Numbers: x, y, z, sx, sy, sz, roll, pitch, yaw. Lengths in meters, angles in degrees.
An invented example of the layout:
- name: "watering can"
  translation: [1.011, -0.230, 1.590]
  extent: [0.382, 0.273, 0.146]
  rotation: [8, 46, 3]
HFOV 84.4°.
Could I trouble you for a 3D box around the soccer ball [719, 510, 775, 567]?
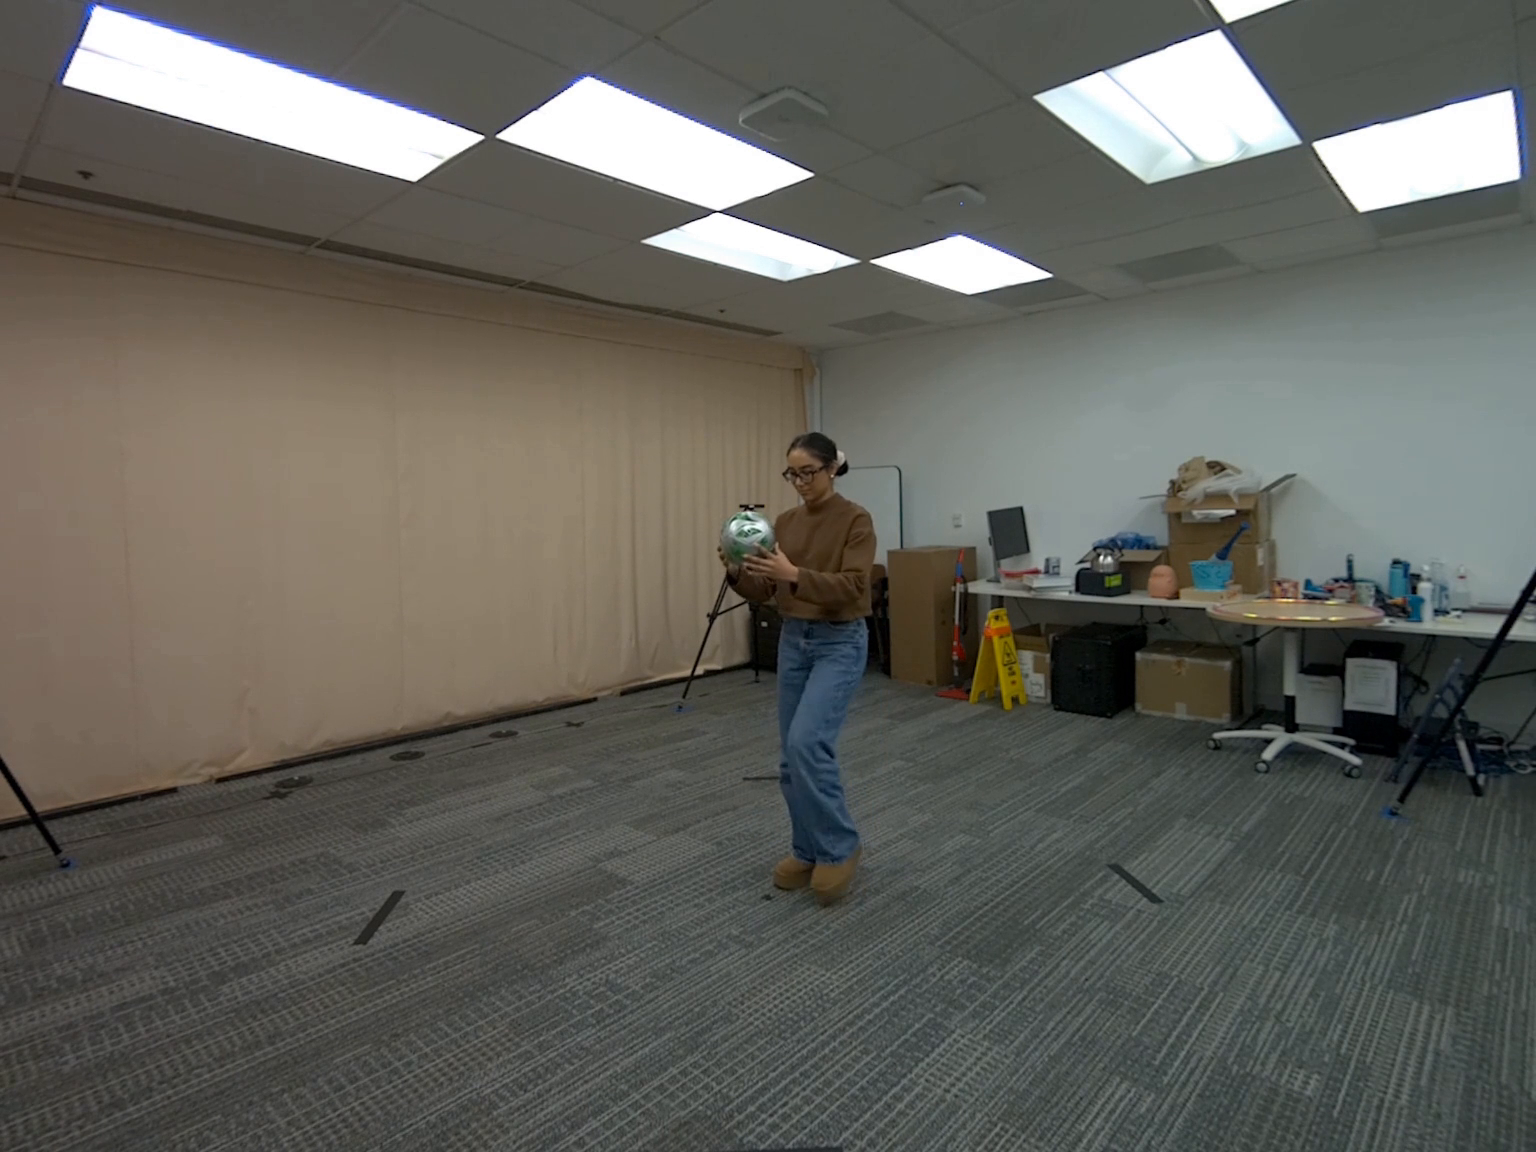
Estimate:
- name: "soccer ball"
  translation: [-0.058, -0.116, 2.793]
  extent: [0.187, 0.187, 0.188]
  rotation: [-1, 4, -2]
